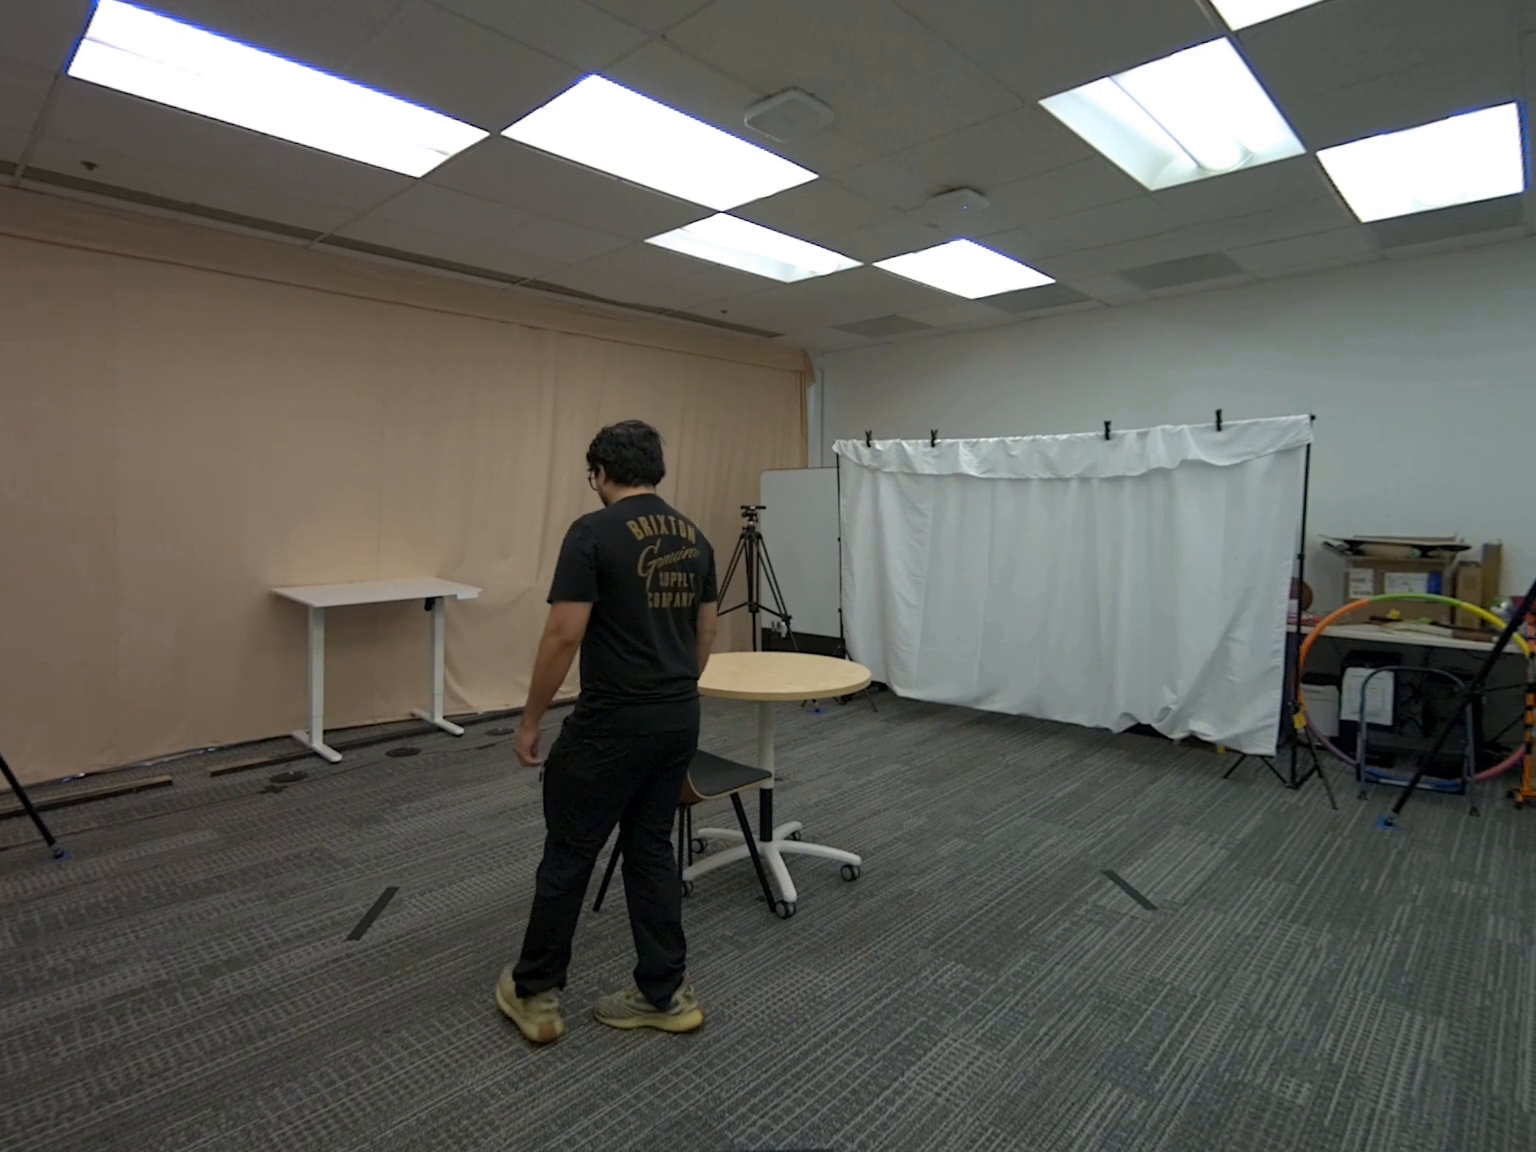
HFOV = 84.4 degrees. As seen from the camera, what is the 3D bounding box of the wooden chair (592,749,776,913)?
[{"bbox_3d":[-0.273,0.722,2.869,0.508,0.874,0.494,-9,7,-43],"label":"wooden chair"}]
